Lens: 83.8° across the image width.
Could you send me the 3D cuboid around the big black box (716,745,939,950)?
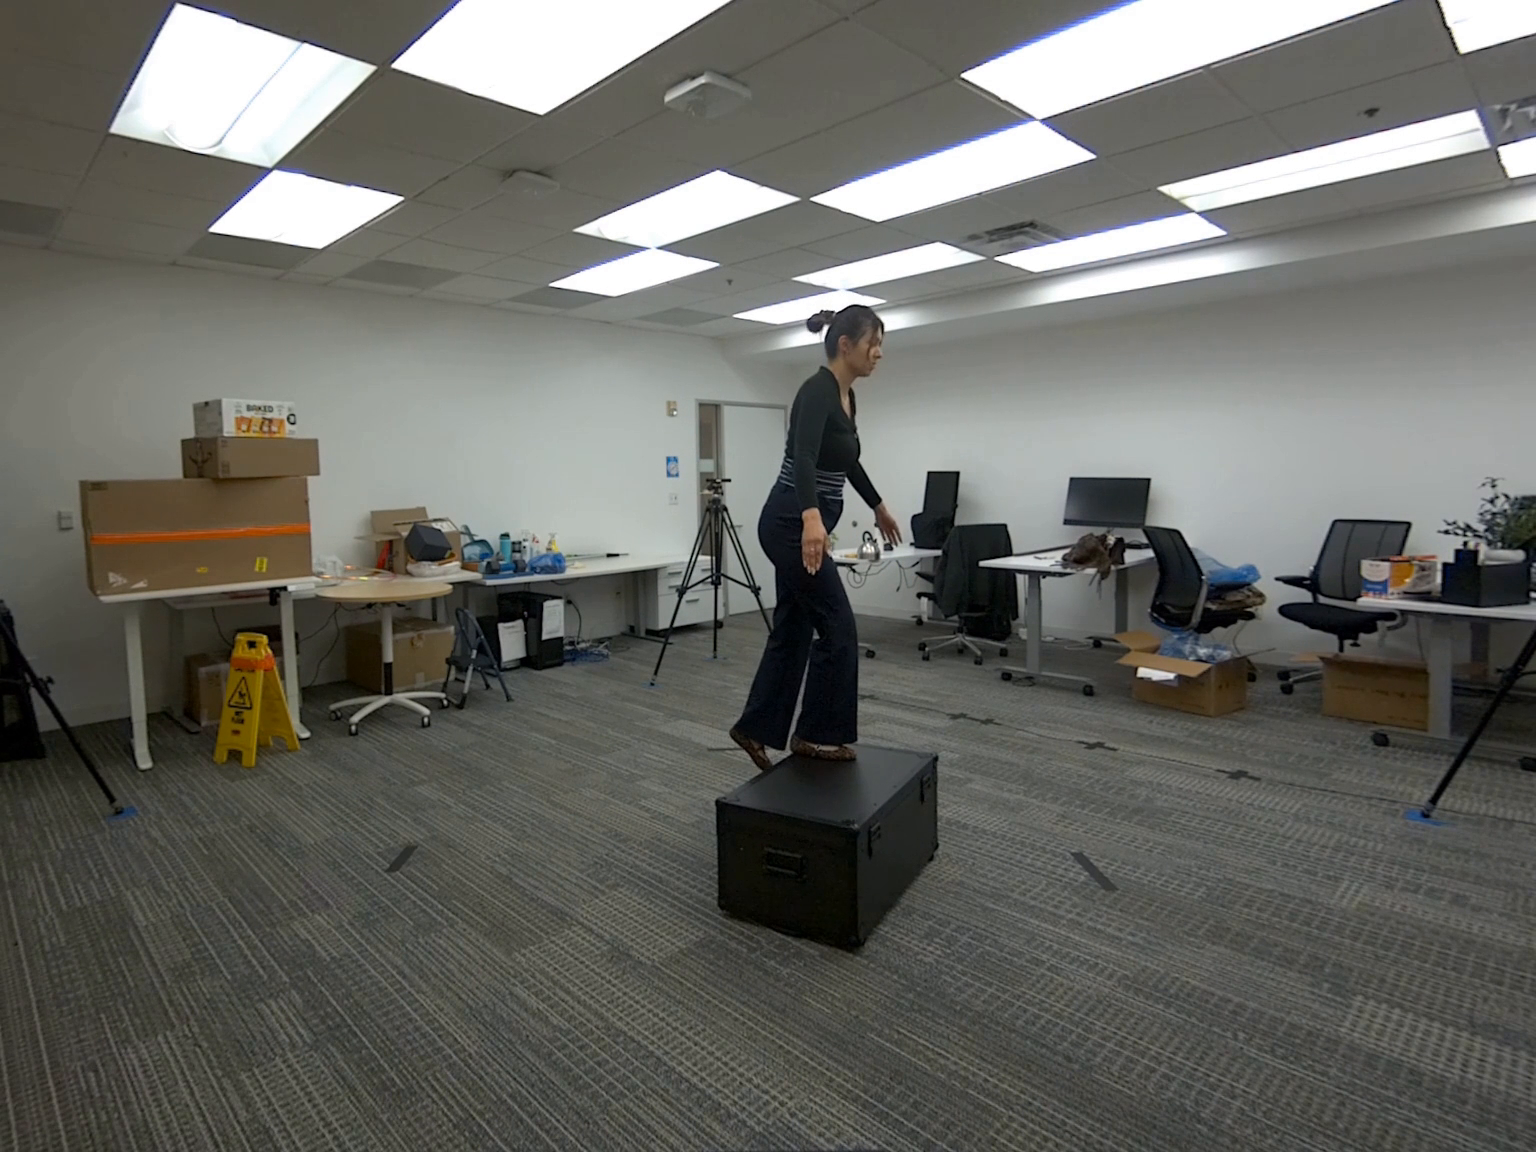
[{"bbox_3d":[0.252,0.868,2.957,0.535,0.395,0.843,1,6,29],"label":"big black box"}]
